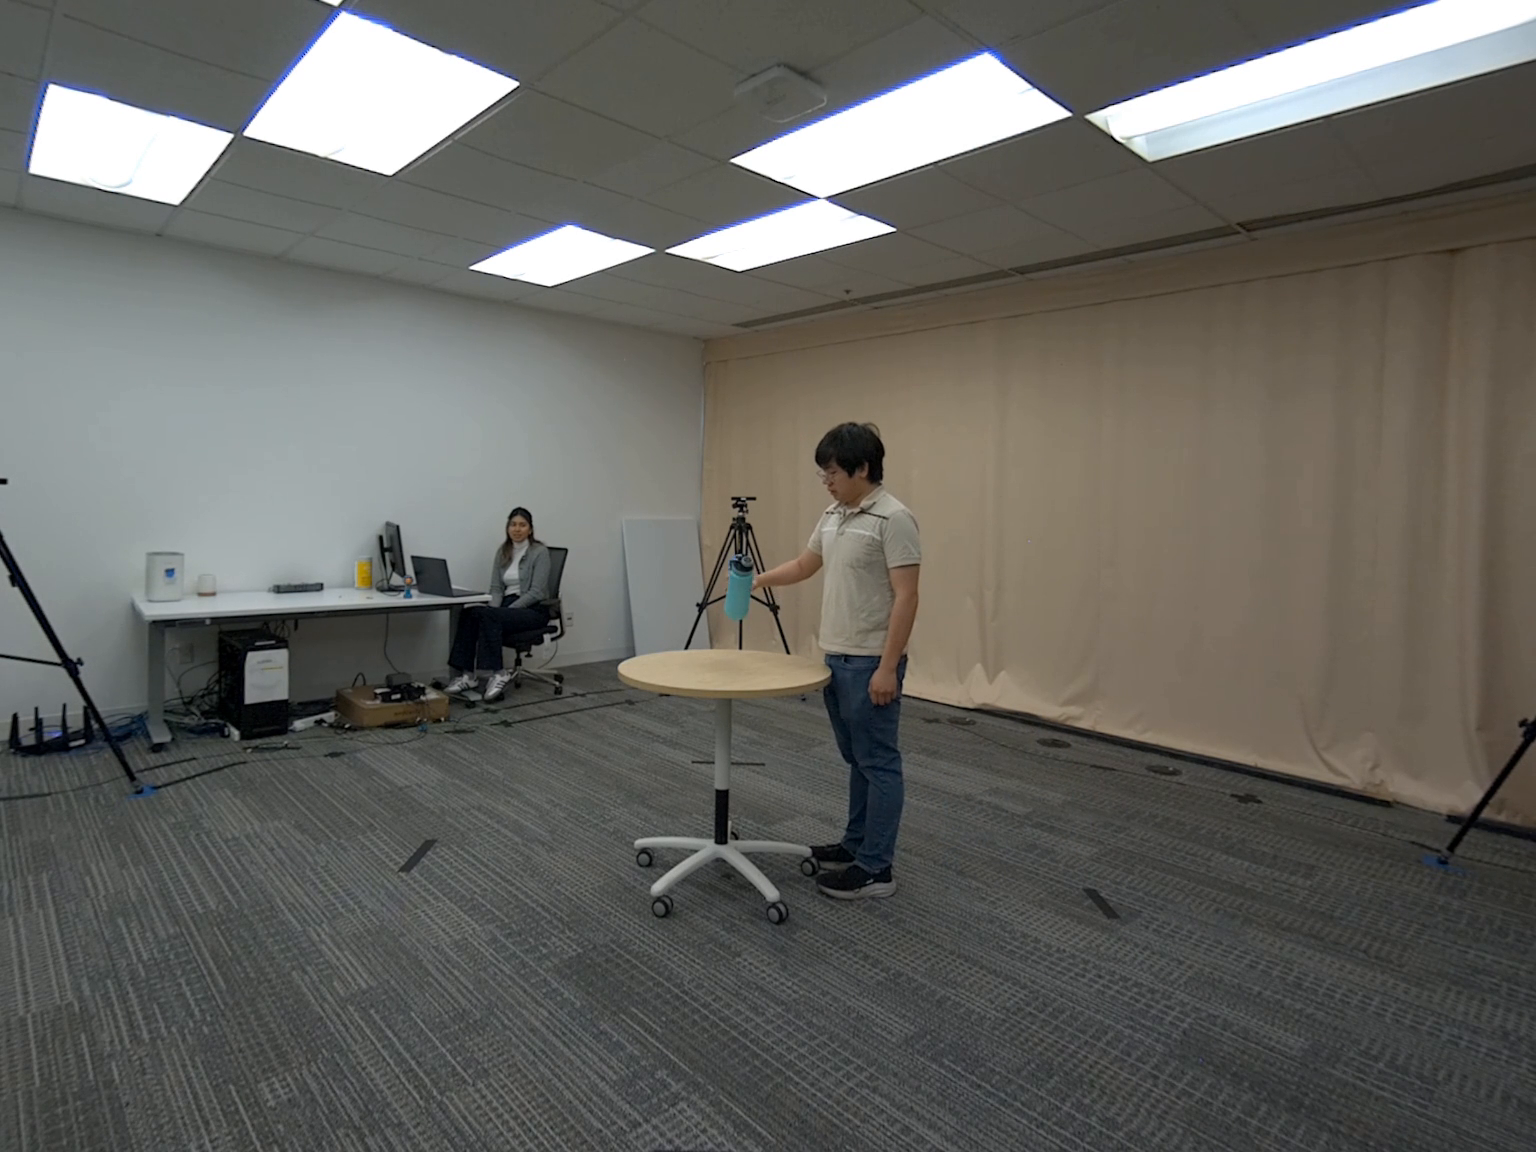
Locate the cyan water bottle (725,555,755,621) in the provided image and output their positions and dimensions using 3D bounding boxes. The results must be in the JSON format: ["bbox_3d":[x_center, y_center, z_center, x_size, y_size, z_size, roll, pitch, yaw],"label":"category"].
[{"bbox_3d":[-0.103,0.048,3.083,0.092,0.278,0.094,3,43,-4],"label":"cyan water bottle"}]
